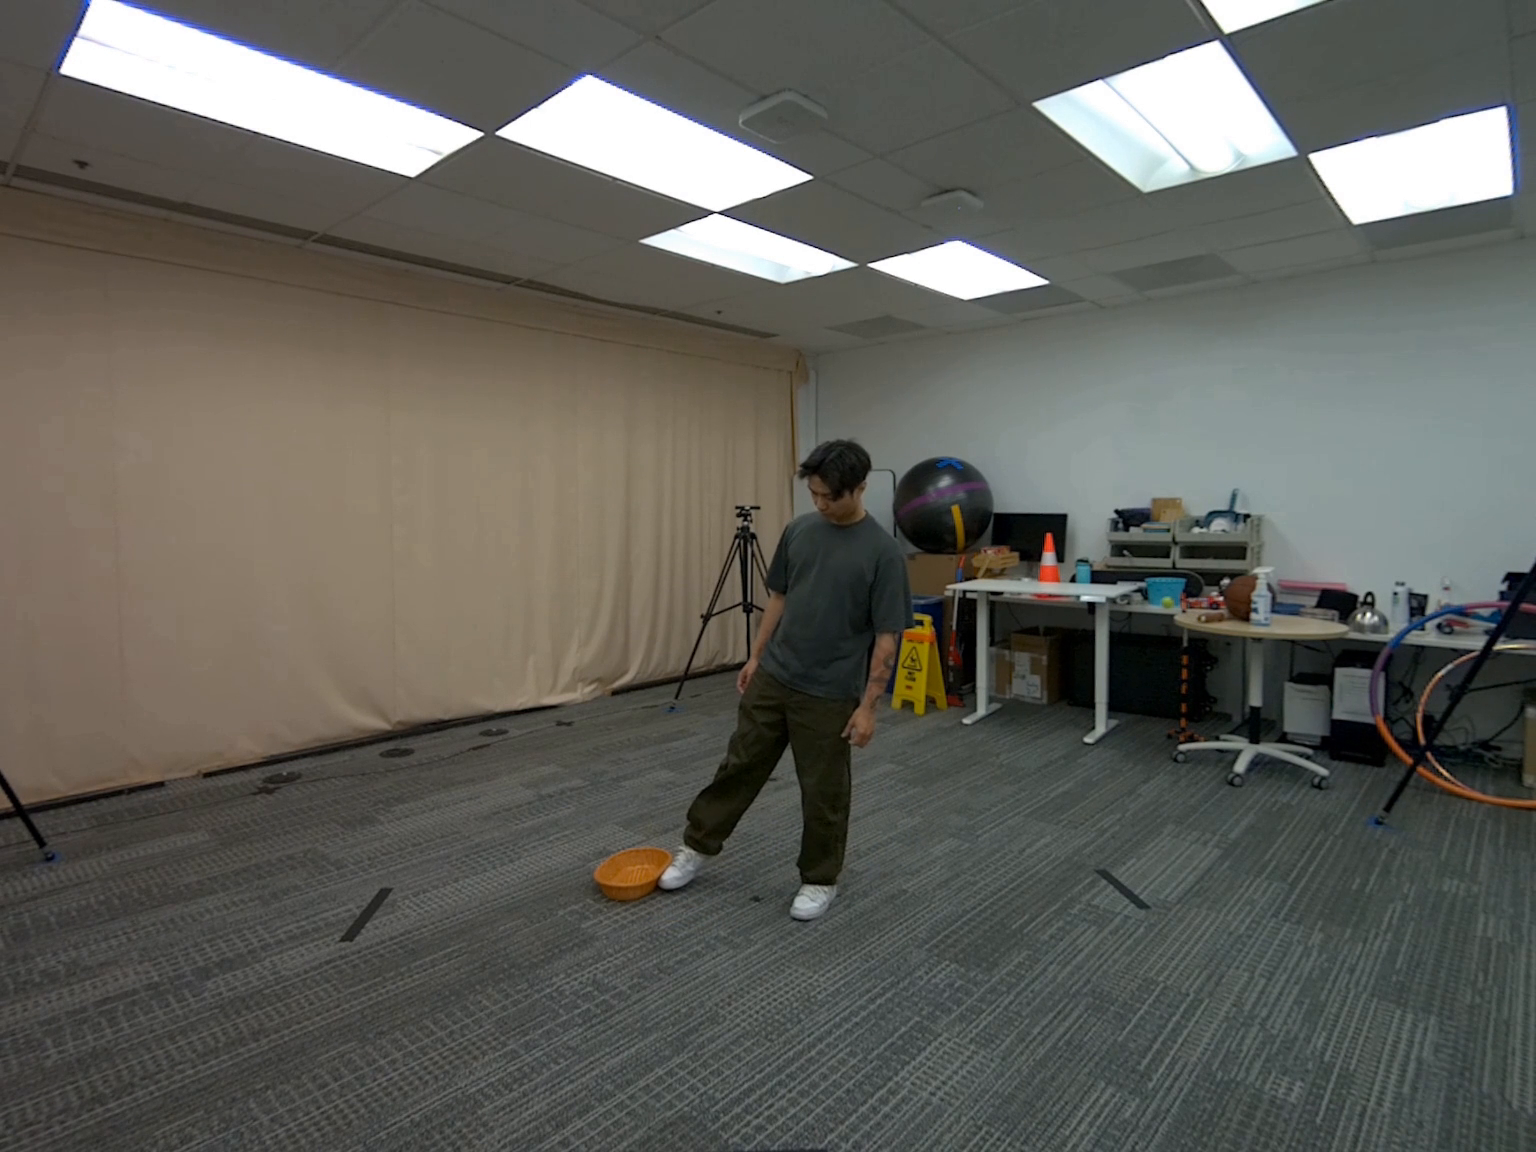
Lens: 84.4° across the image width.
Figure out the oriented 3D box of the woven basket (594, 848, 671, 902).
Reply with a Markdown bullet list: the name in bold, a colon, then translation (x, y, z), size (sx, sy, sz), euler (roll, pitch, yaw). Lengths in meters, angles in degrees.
- **woven basket**: translation (-0.494, 1.100, 3.105), size (0.258, 0.073, 0.343), euler (0, 5, 23)
